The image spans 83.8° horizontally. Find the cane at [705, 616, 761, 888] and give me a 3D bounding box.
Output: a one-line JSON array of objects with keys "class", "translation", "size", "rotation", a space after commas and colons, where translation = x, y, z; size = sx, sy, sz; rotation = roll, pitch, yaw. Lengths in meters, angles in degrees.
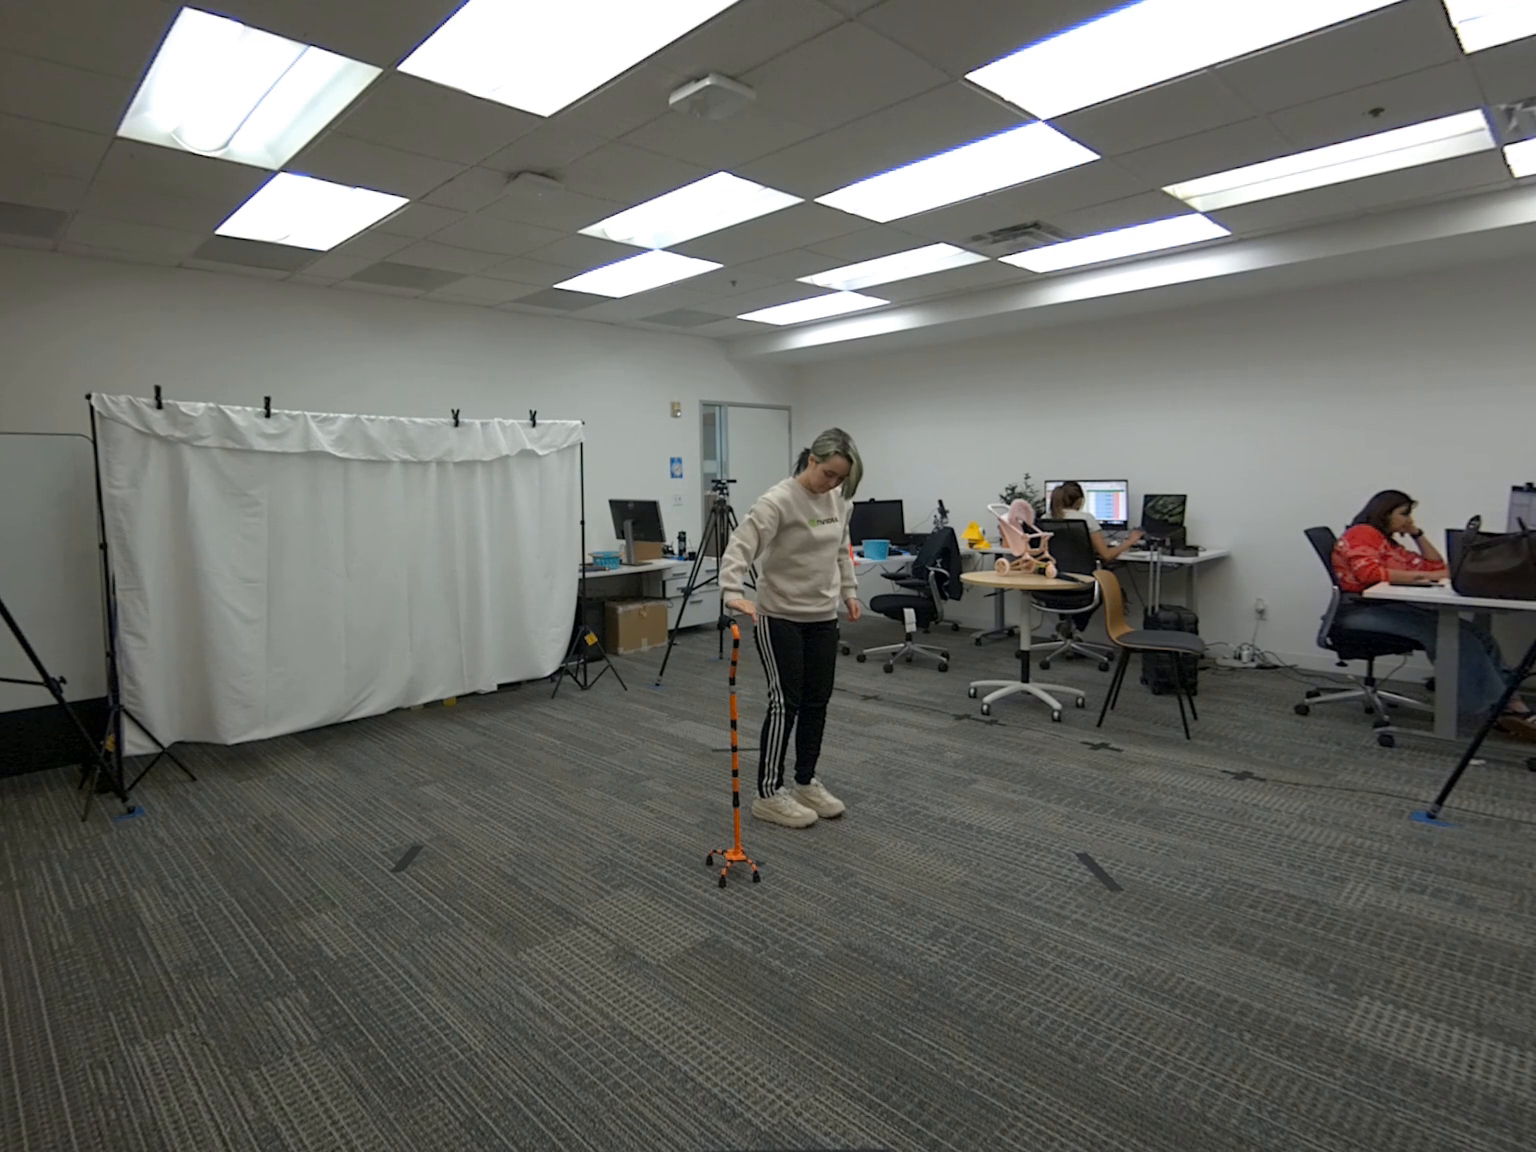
[{"class": "cane", "translation": [-0.137, 0.608, 3.018], "size": [0.149, 0.905, 0.210], "rotation": [-2, 3, -18]}]
